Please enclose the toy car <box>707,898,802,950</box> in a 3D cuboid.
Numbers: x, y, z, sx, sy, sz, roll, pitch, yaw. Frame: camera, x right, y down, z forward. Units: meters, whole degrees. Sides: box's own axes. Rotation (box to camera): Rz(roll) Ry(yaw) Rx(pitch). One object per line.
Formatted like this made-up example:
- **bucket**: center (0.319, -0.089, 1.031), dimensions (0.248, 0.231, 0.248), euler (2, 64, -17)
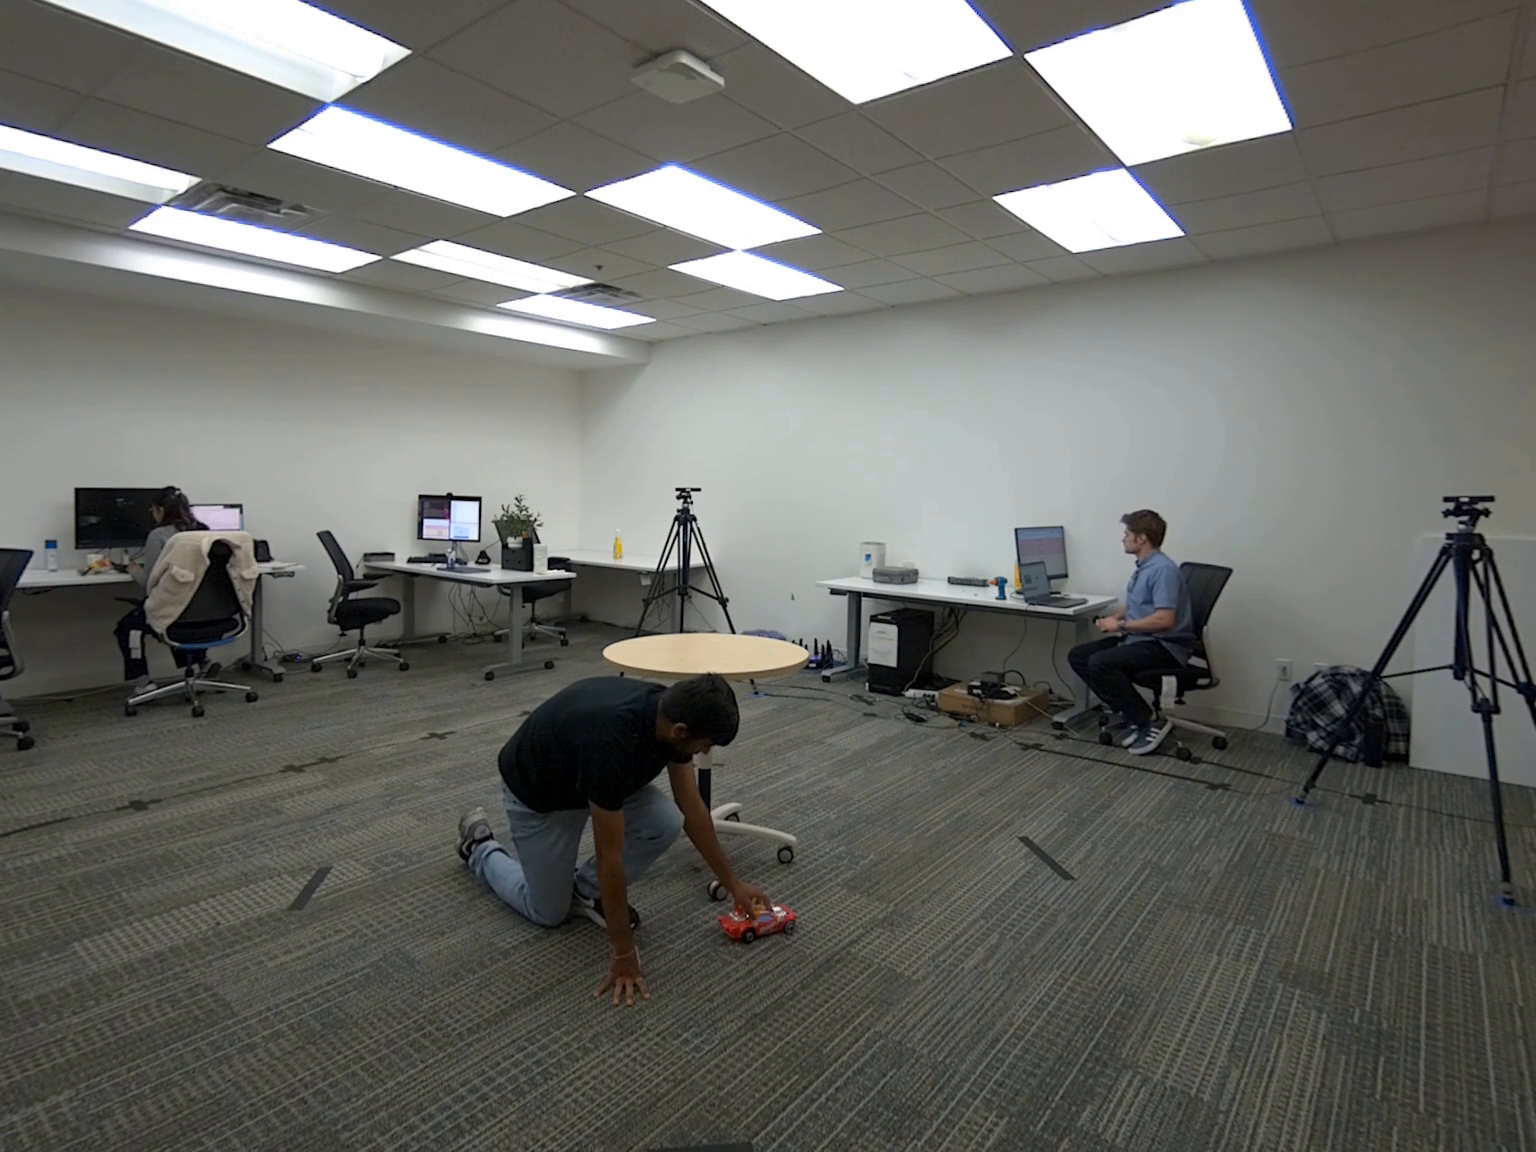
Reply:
- **toy car**: center (-0.044, 1.092, 2.651), dimensions (0.247, 0.083, 0.134), euler (8, 3, -27)
